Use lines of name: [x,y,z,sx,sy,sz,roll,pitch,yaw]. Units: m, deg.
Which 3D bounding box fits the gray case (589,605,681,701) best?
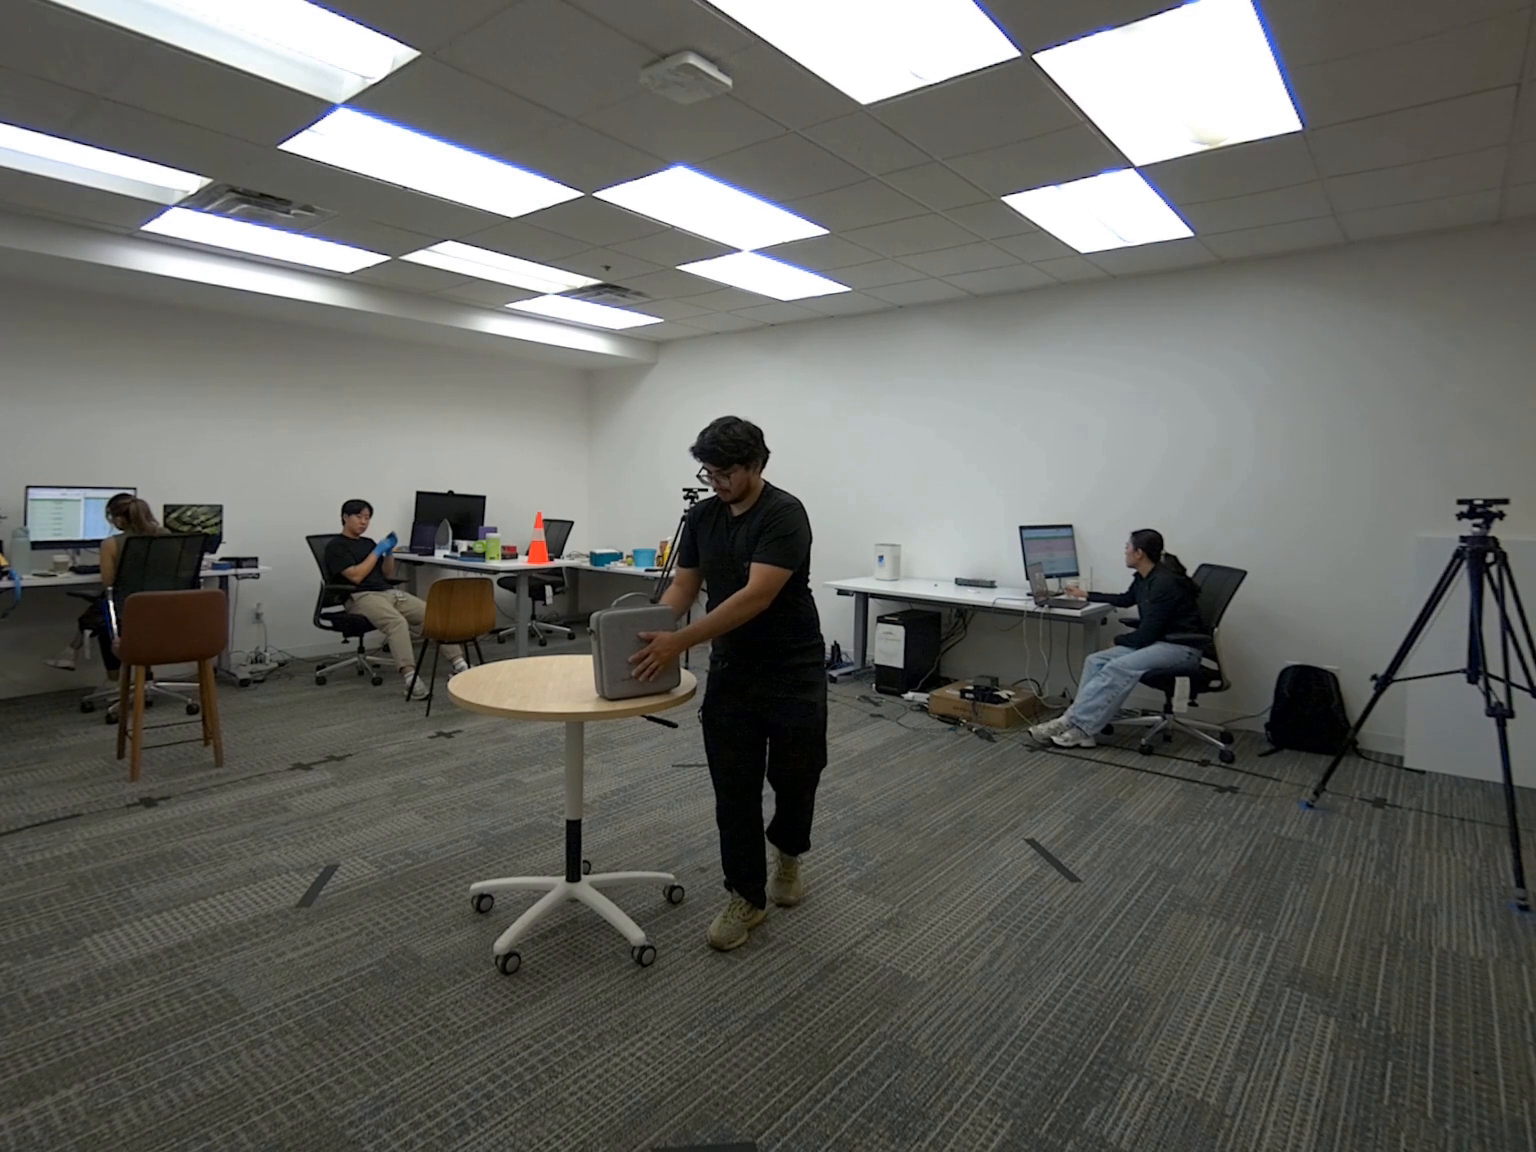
gray case: [-0.409,0.212,2.515,0.250,0.261,0.107,-3,-2,-33]
